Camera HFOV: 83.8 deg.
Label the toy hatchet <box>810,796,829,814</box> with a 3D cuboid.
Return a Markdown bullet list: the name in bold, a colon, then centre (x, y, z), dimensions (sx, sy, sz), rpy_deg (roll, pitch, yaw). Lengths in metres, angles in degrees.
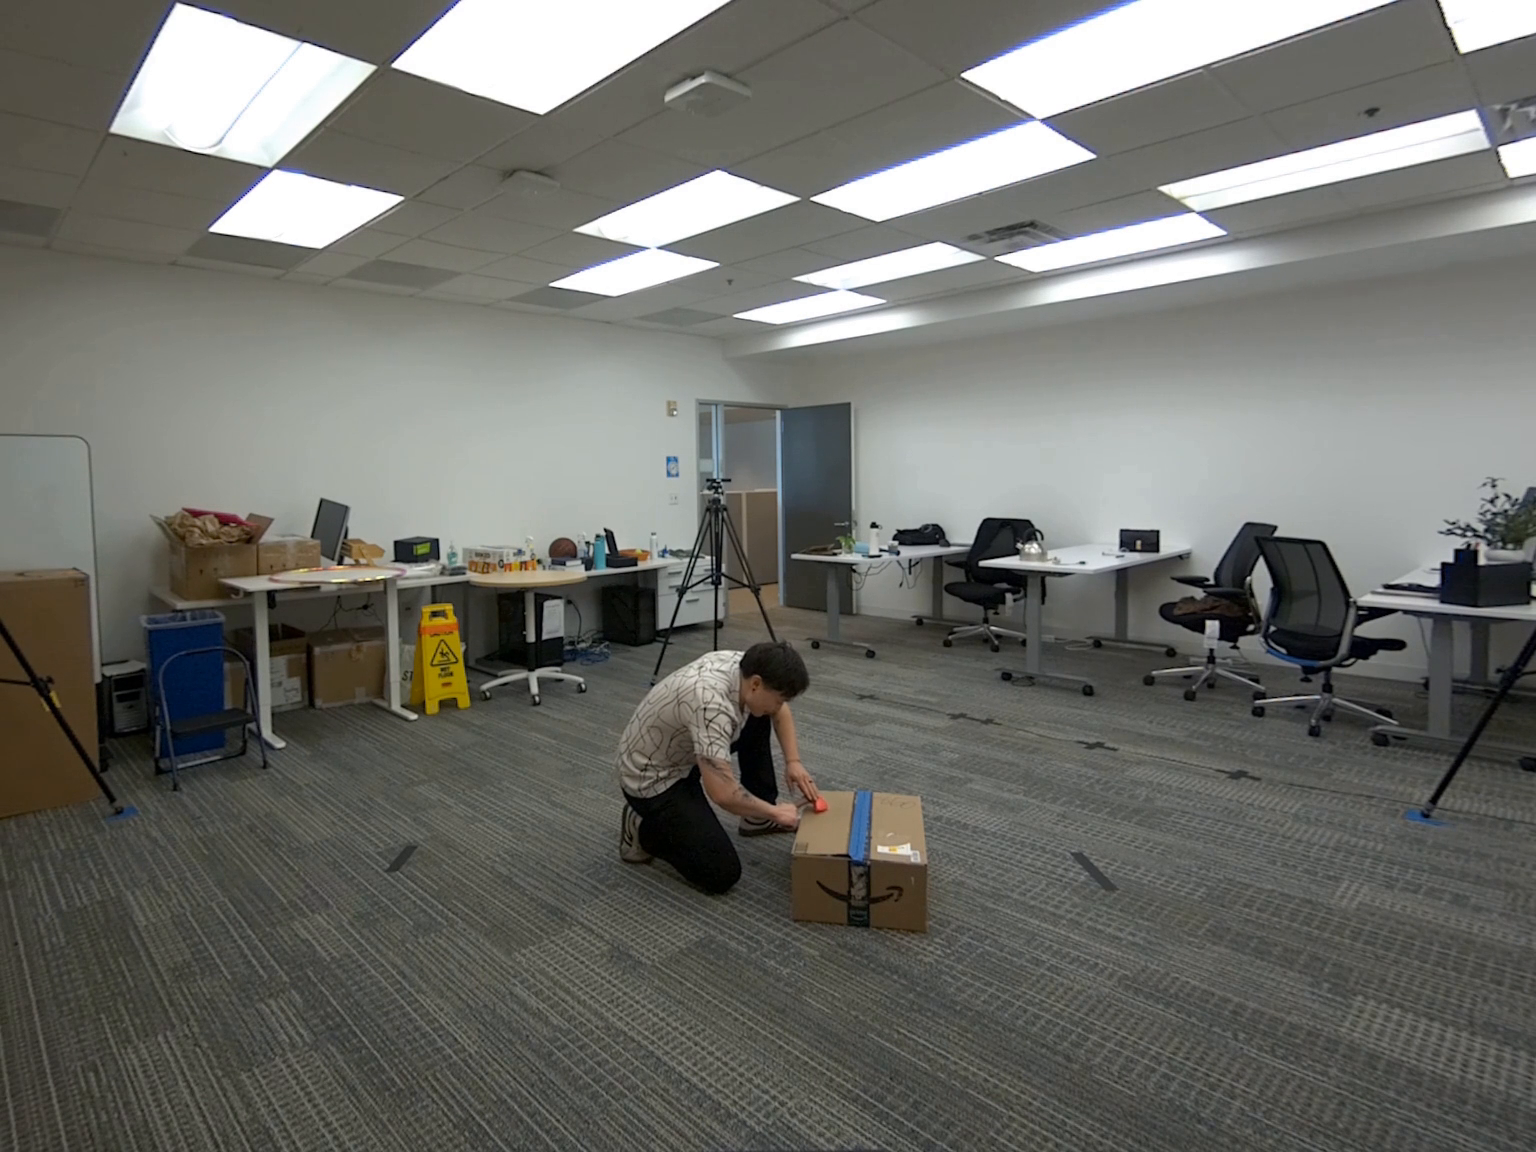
- **toy hatchet**: centre (0.144, 0.784, 2.983), dimensions (0.133, 0.029, 0.267), rpy_deg (27, 7, 9)
